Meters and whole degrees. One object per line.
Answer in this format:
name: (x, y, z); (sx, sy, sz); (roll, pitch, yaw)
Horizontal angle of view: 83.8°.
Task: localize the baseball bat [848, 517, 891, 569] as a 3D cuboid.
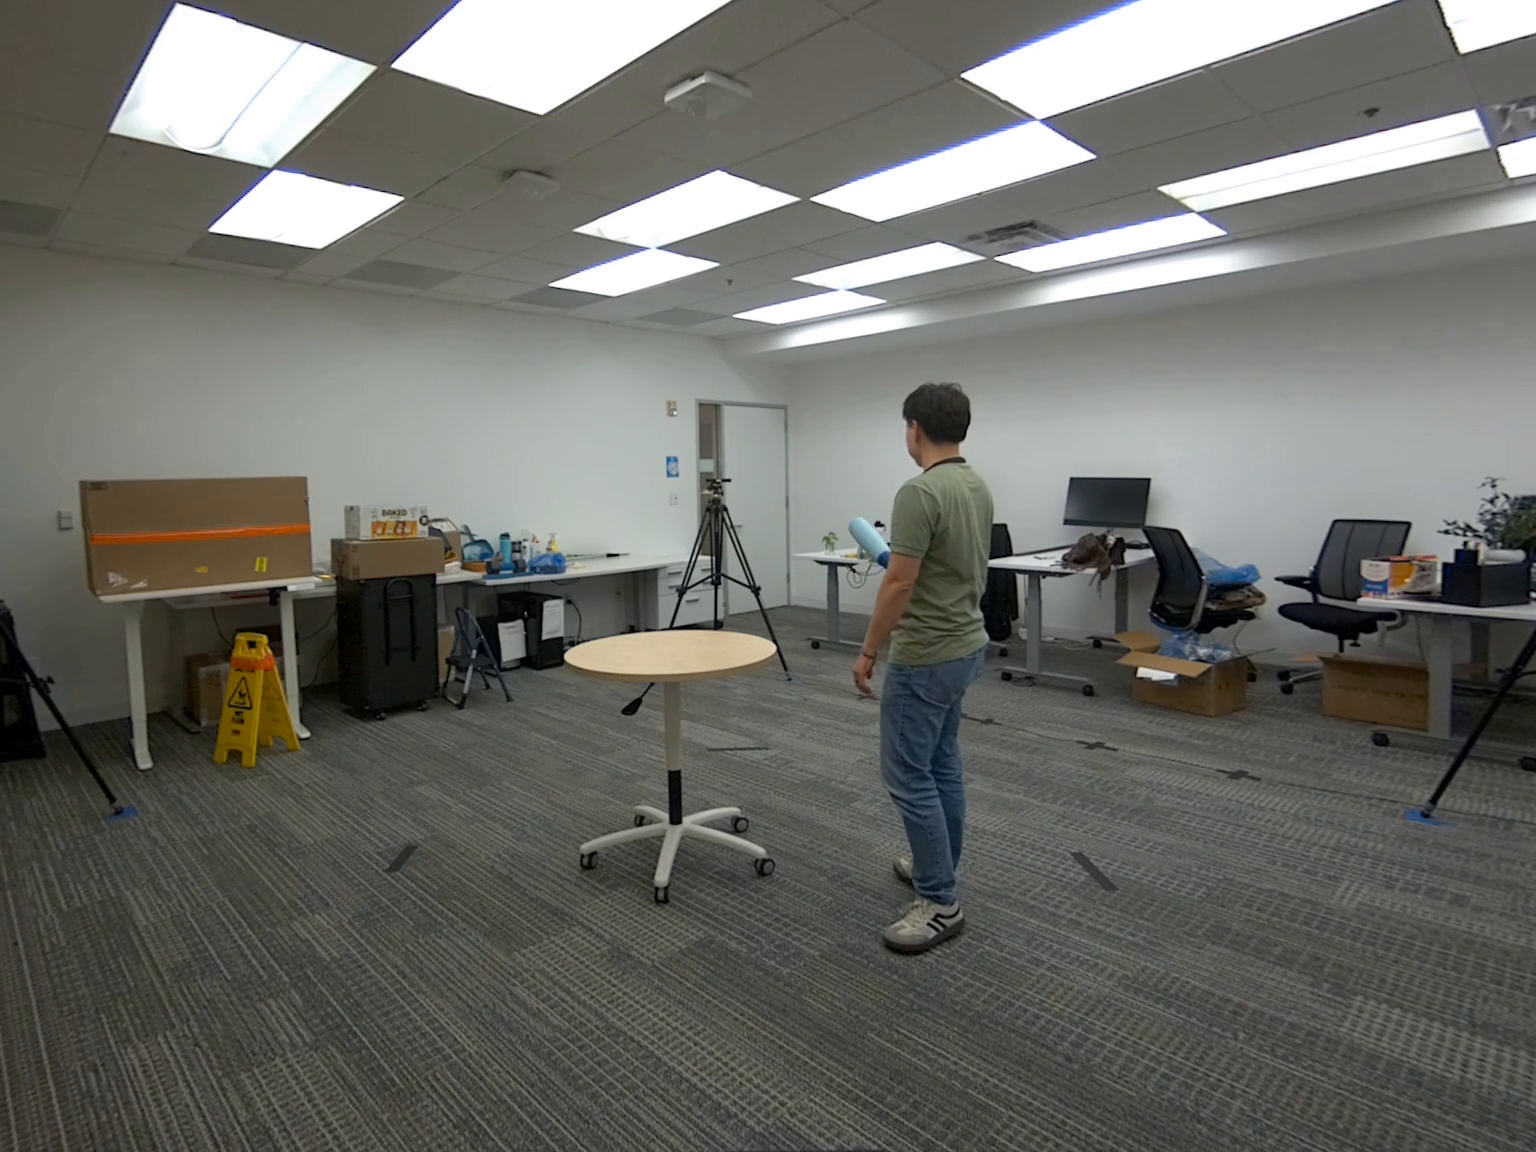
baseball bat: (0.459, -0.056, 3.322); (0.087, 0.087, 0.563); (-3, 35, -19)
